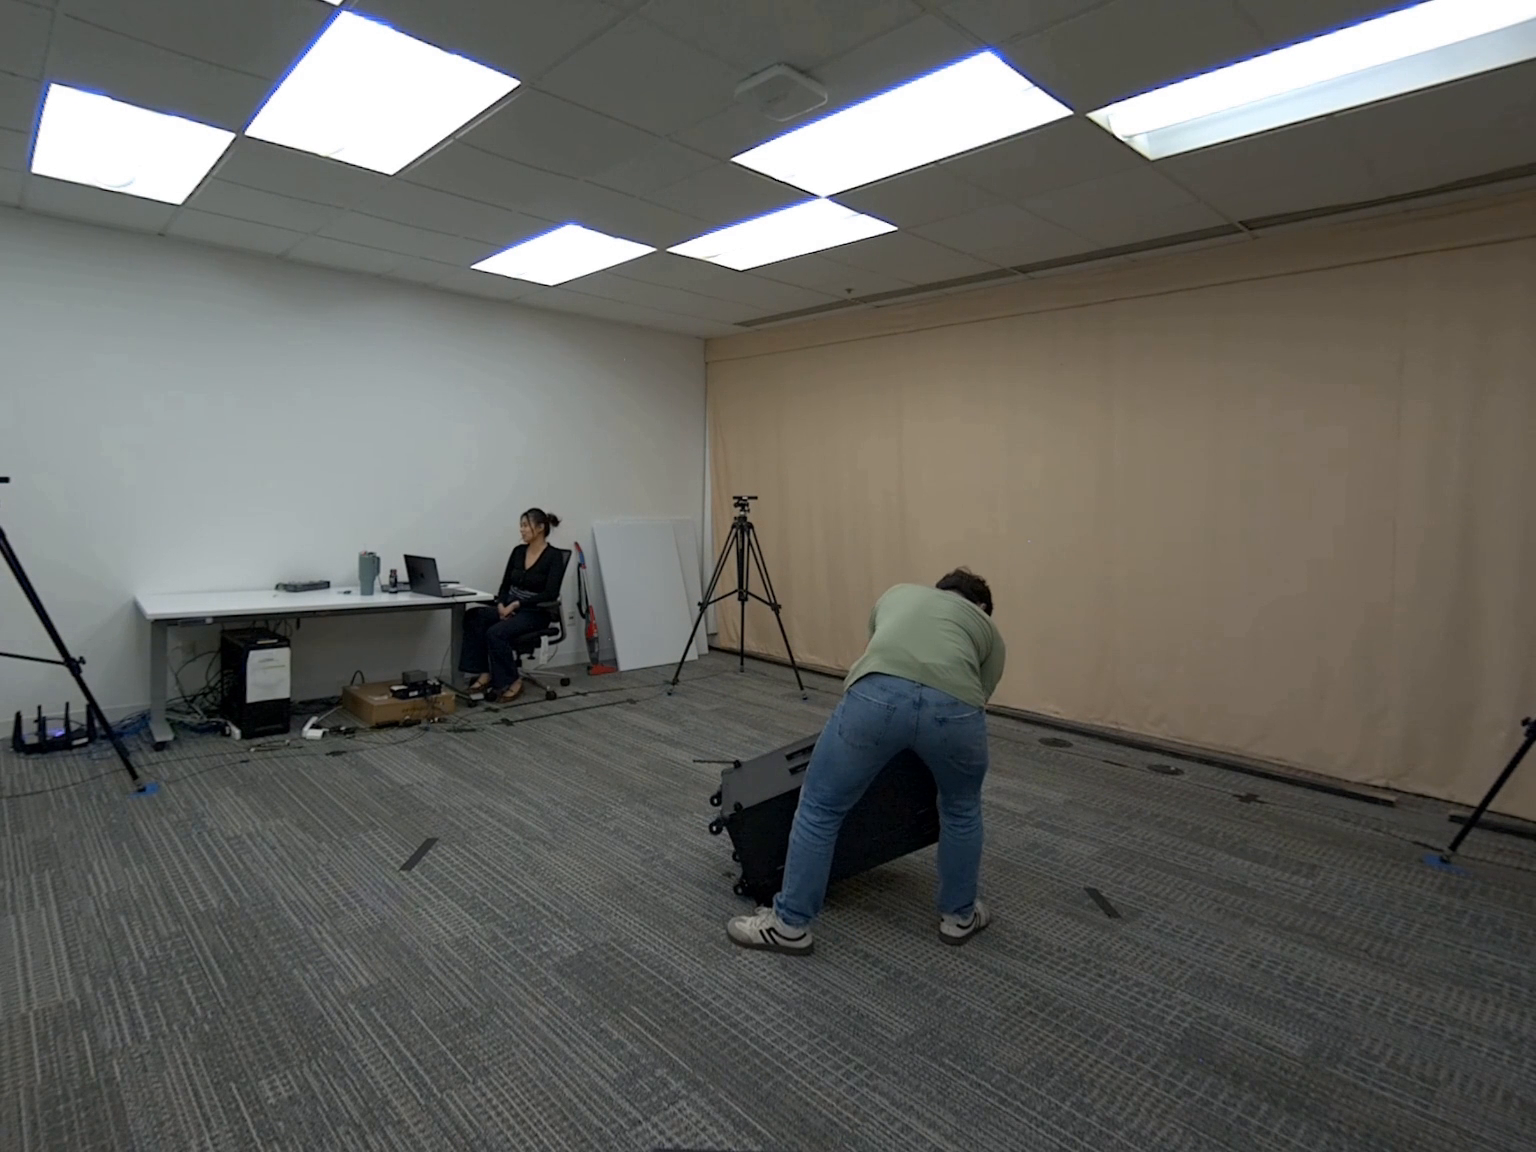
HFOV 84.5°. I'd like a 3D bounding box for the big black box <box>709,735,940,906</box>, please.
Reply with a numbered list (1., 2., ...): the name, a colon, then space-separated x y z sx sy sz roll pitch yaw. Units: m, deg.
1. big black box: 0.216 0.798 3.036 0.862 0.395 0.523 -22 5 2
